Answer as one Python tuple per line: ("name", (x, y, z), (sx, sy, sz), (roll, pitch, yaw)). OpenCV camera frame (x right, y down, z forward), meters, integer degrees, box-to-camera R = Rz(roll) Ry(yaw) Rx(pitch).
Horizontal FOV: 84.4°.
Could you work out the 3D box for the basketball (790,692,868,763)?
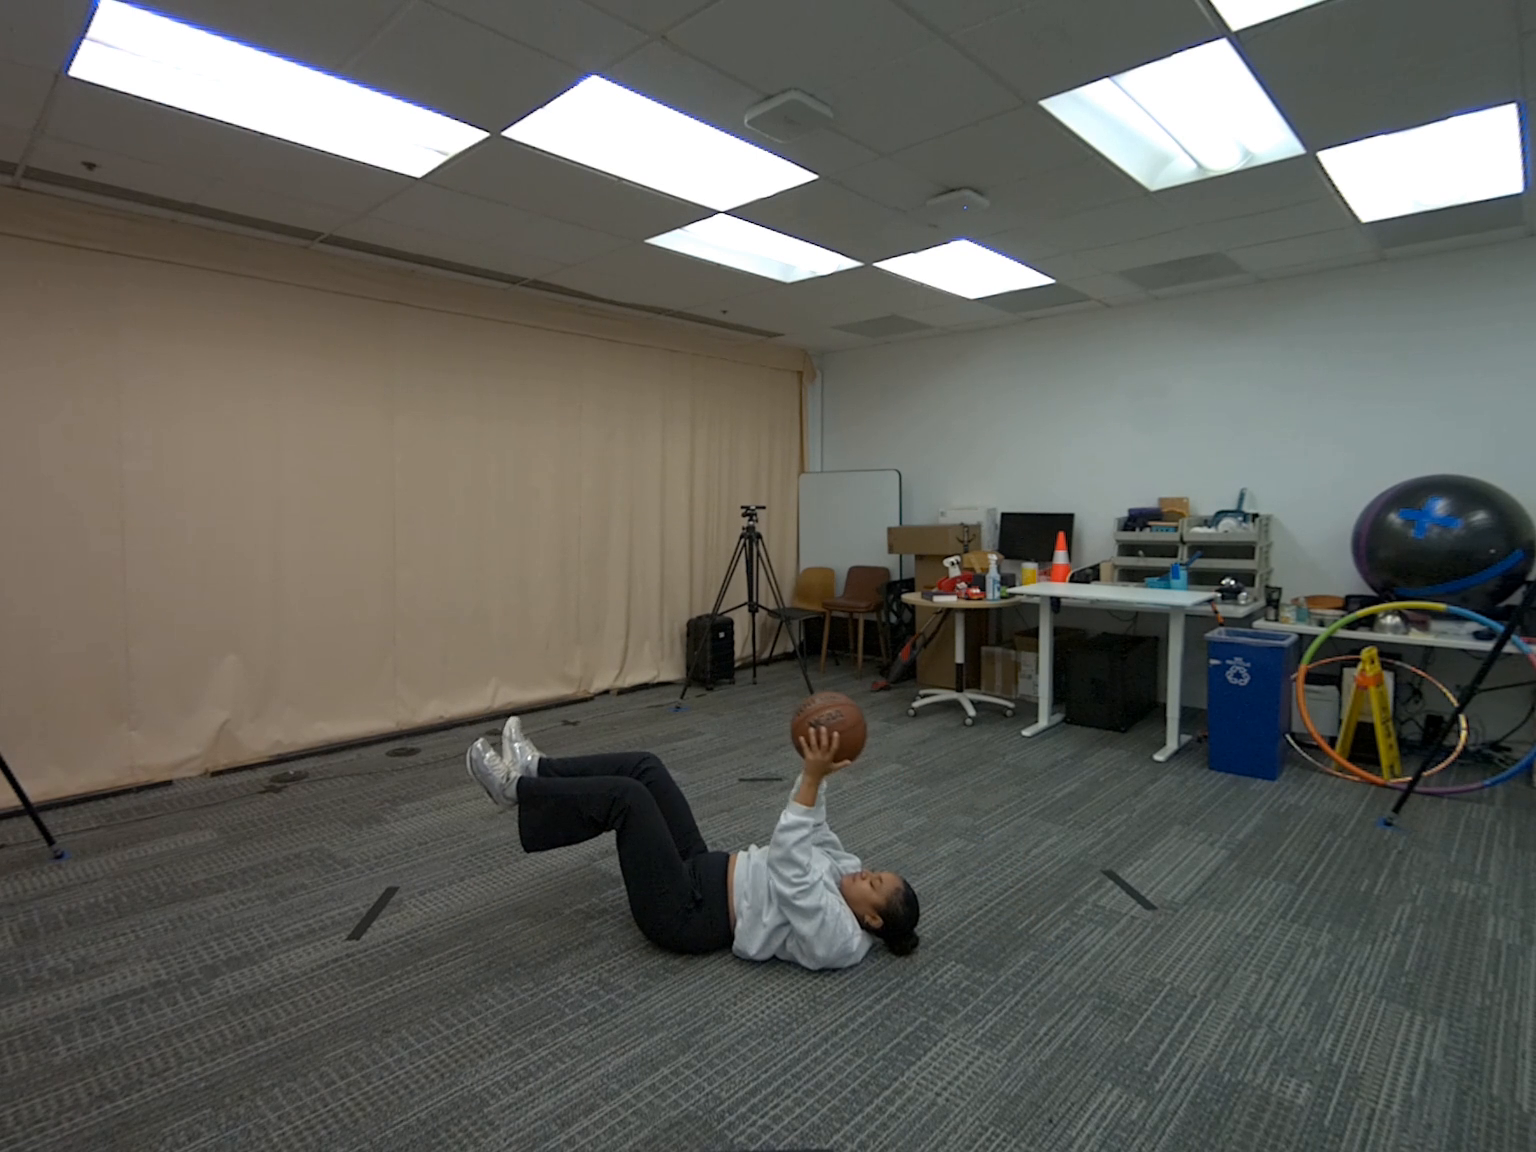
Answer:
("basketball", (0.201, 0.494, 2.630), (0.235, 0.235, 0.237), (1, 4, -2))
